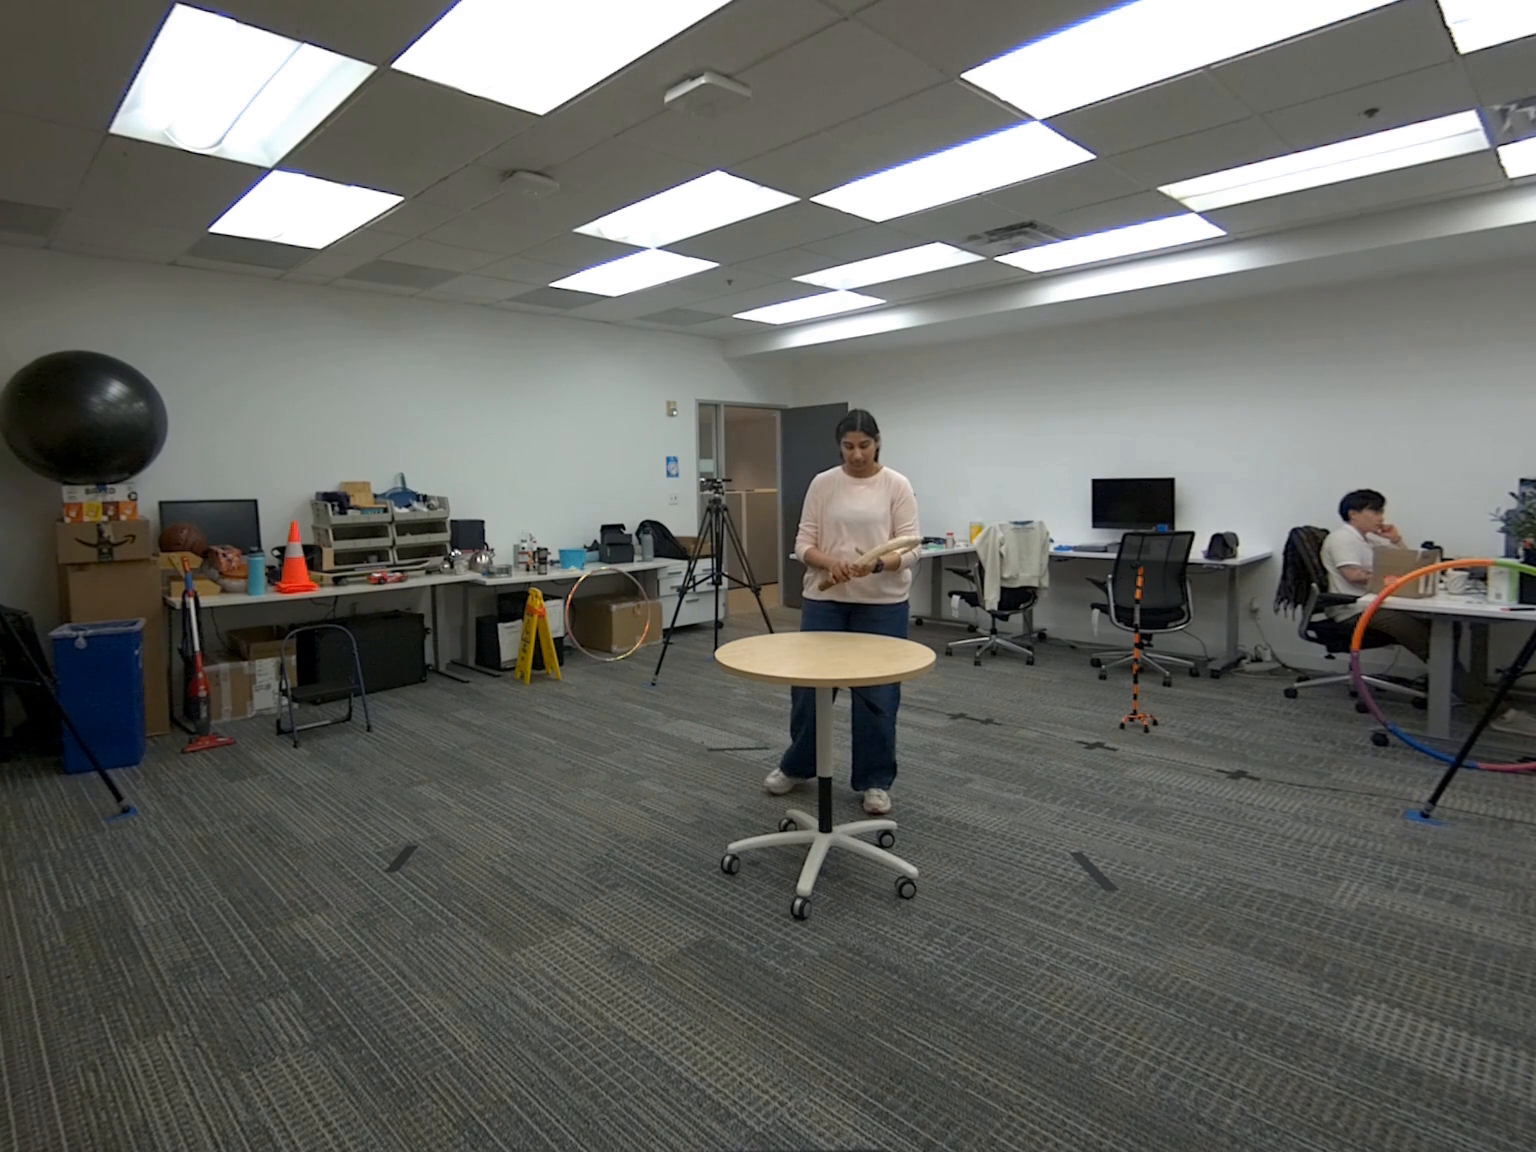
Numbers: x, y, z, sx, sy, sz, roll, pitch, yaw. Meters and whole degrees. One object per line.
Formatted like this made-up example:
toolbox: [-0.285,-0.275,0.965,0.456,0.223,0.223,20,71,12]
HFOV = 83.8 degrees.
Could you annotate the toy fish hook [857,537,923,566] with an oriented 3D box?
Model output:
toy fish hook: [0.397,-0.038,3.336,0.218,0.049,0.511,-2,-20,-40]
